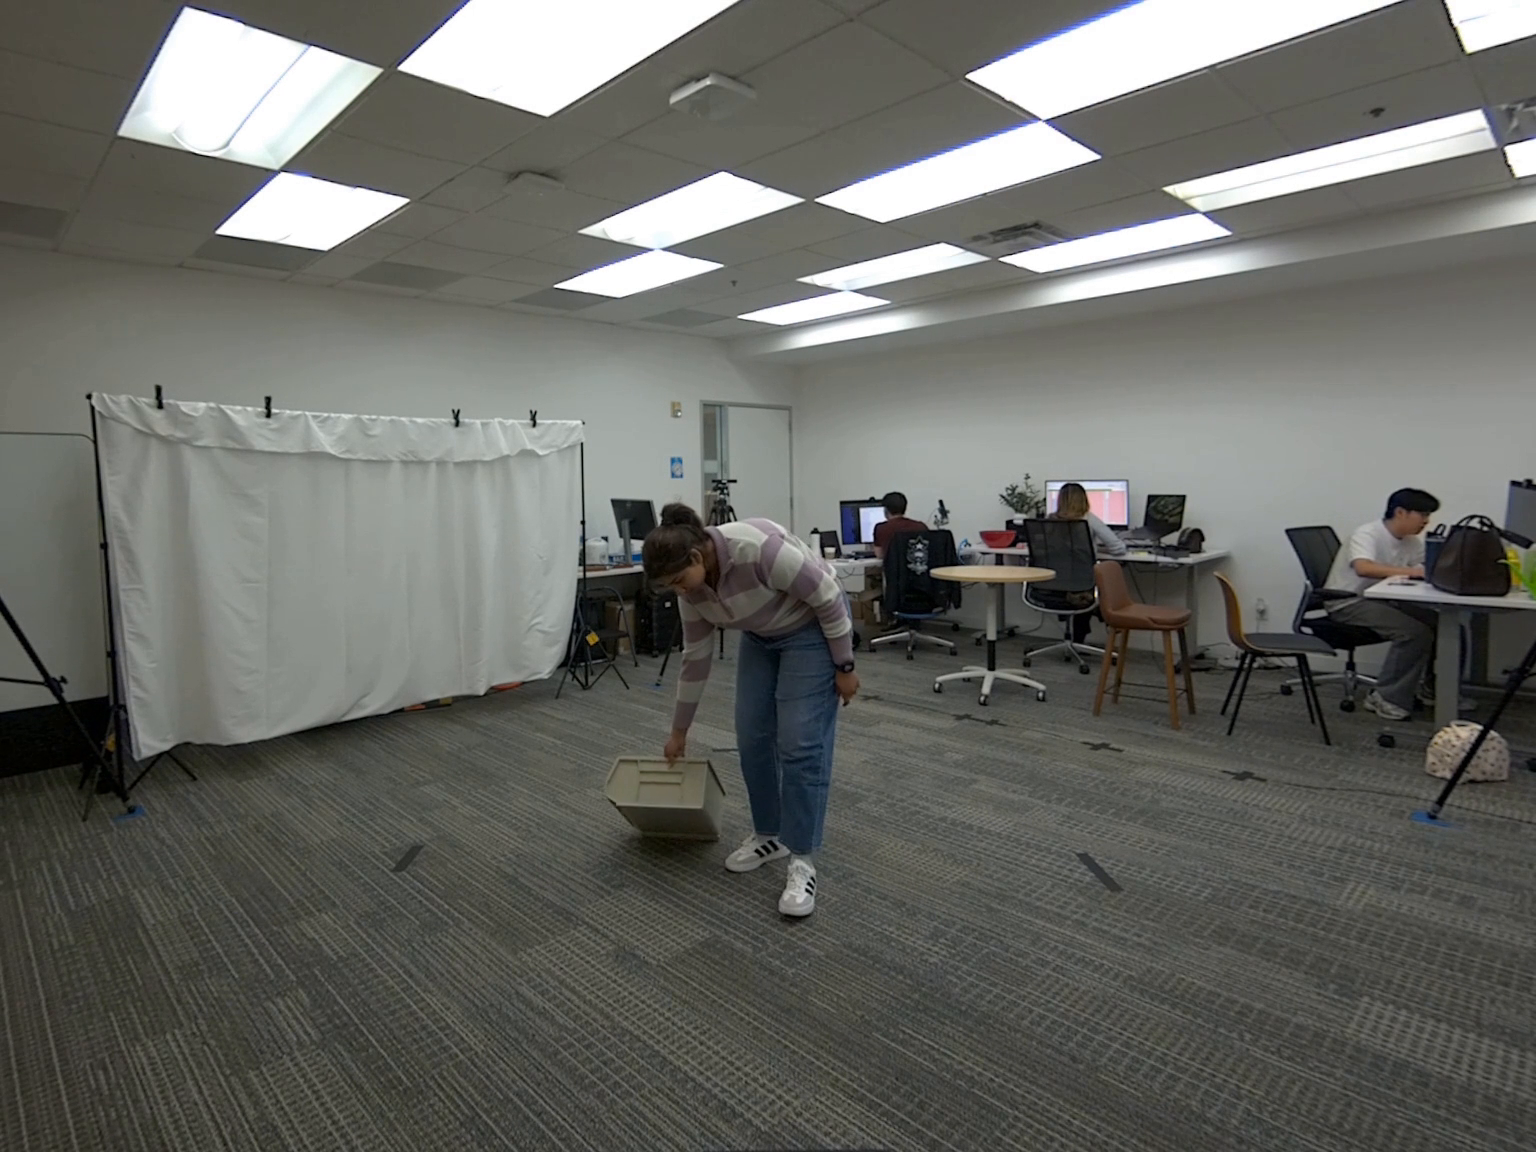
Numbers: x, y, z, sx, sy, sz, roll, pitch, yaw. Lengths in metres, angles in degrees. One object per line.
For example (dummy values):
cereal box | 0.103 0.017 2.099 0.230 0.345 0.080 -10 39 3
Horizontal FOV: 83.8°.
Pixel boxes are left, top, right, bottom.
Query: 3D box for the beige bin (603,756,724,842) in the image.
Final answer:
beige bin | -0.377 0.848 3.226 0.381 0.193 0.409 1 -32 9
